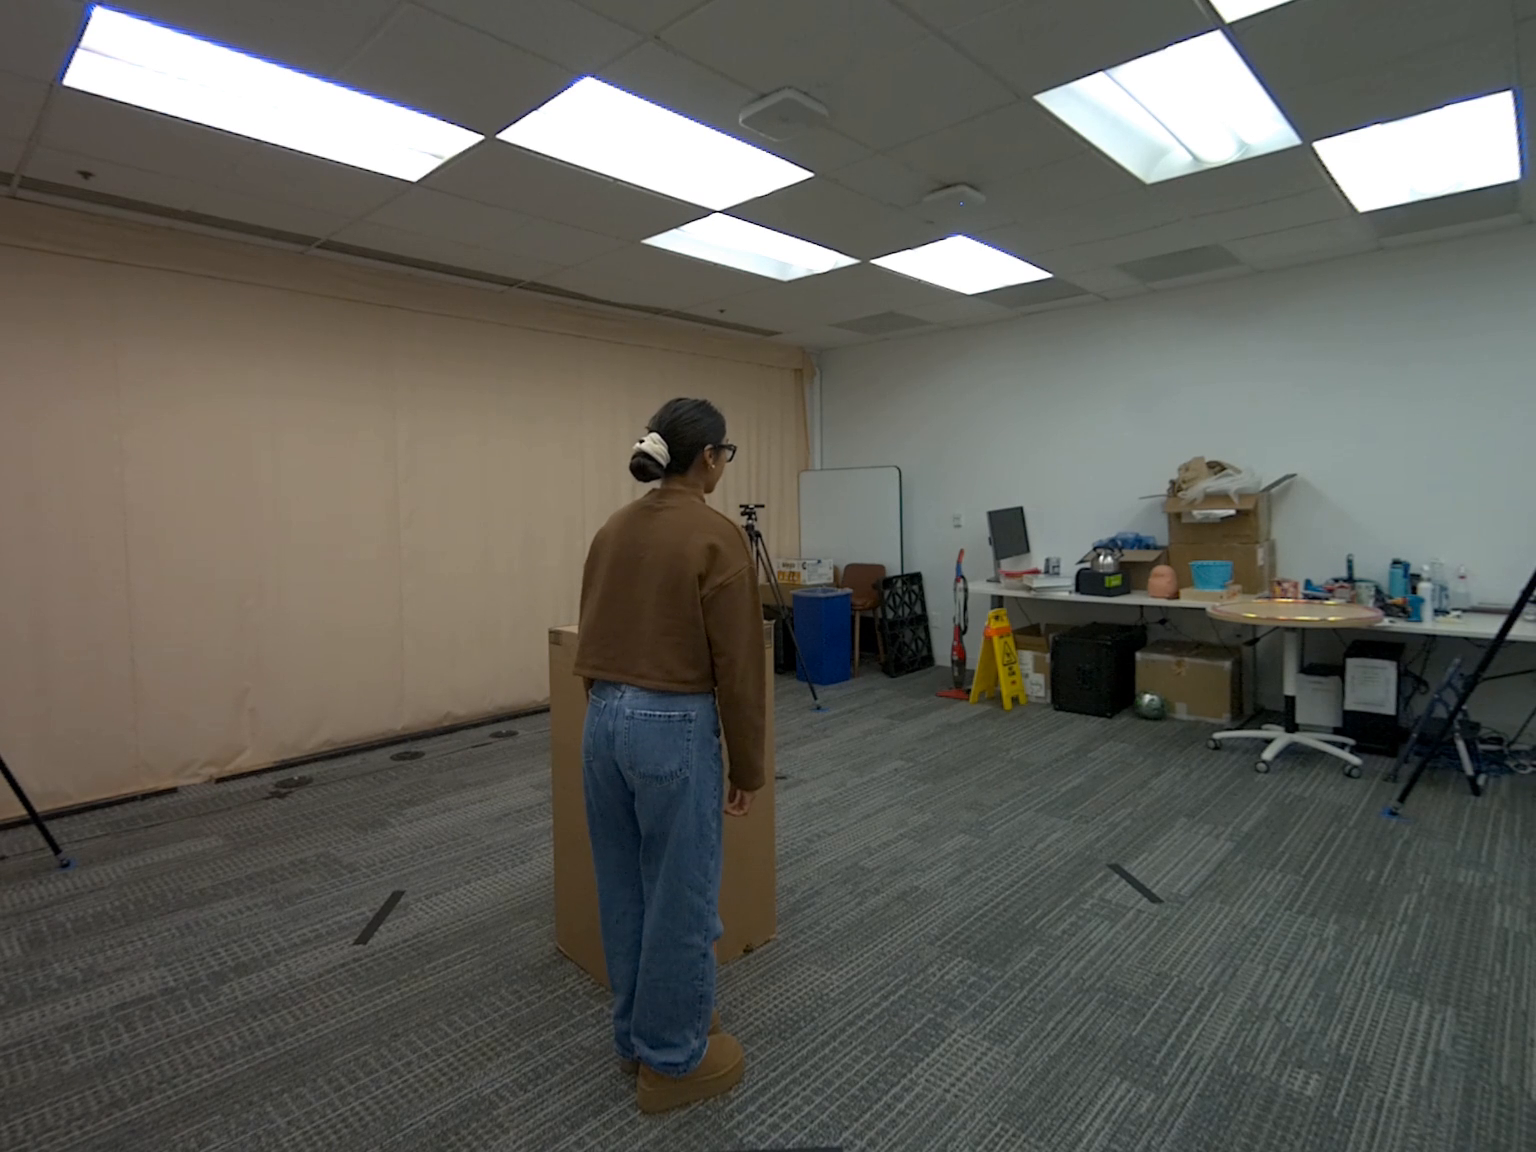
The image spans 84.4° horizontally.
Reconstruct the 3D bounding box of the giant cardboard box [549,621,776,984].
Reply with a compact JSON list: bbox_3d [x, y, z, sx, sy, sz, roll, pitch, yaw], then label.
[{"bbox_3d":[-0.330,0.667,2.663,0.560,1.024,0.440,-3,4,-42],"label":"giant cardboard box"}]
